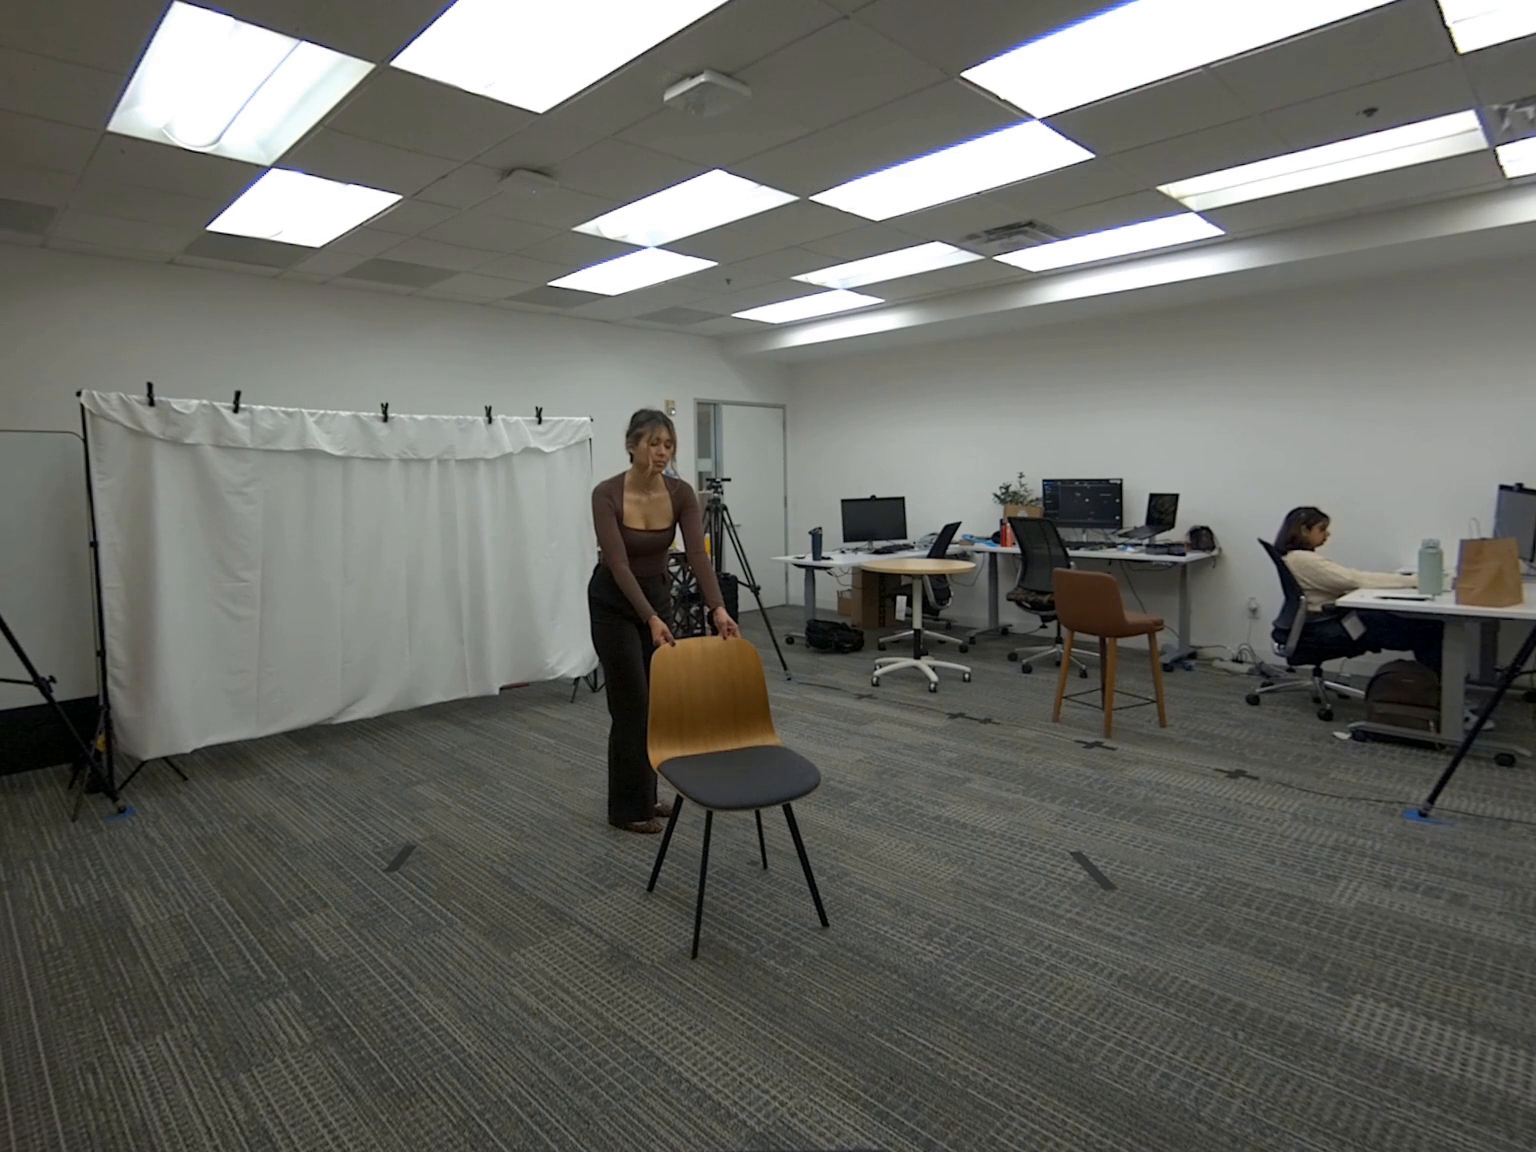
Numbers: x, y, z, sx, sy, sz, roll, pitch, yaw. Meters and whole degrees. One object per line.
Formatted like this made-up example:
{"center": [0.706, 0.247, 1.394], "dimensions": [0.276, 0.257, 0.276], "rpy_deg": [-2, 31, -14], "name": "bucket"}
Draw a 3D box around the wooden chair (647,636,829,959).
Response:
{"center": [-0.114, 0.659, 2.737], "dimensions": [0.468, 0.877, 0.534], "rpy_deg": [-3, 0, -24], "name": "wooden chair"}
